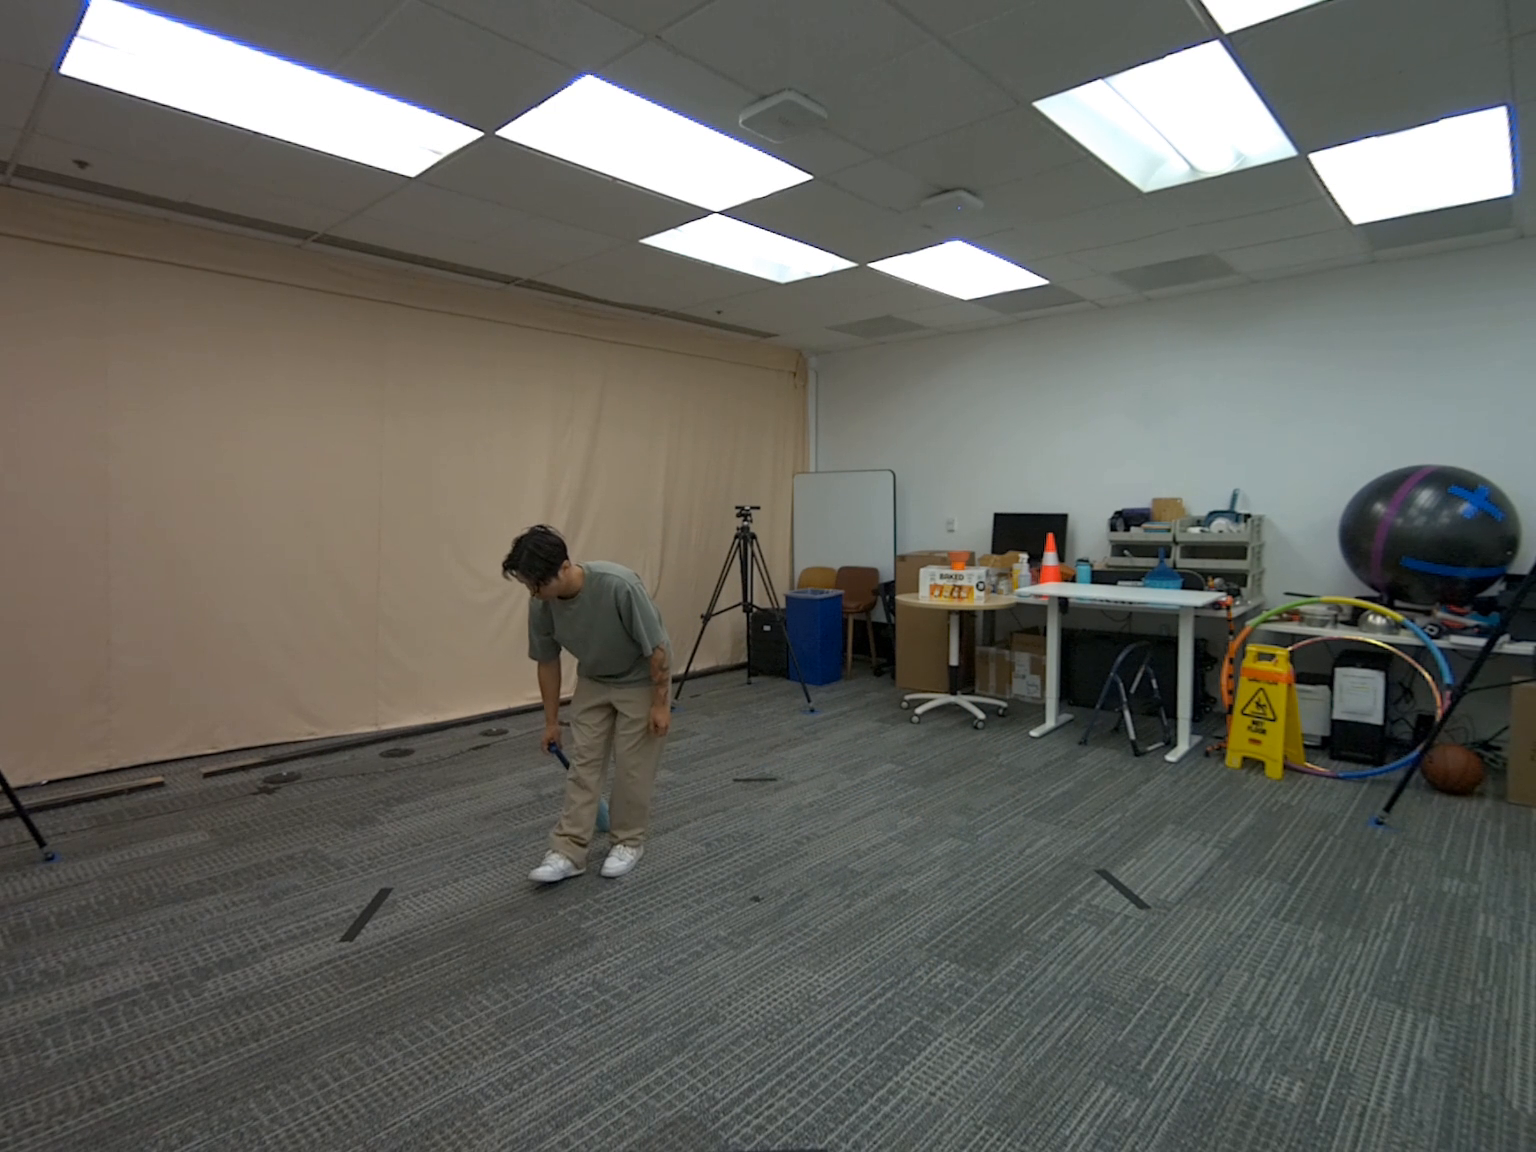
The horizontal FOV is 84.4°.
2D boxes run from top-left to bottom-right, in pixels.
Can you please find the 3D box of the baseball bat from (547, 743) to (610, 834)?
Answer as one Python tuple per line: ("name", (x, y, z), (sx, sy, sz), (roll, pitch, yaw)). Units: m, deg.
("baseball bat", (-0.785, 0.879, 3.504), (0.090, 0.528, 0.091), (-17, 34, 11))
